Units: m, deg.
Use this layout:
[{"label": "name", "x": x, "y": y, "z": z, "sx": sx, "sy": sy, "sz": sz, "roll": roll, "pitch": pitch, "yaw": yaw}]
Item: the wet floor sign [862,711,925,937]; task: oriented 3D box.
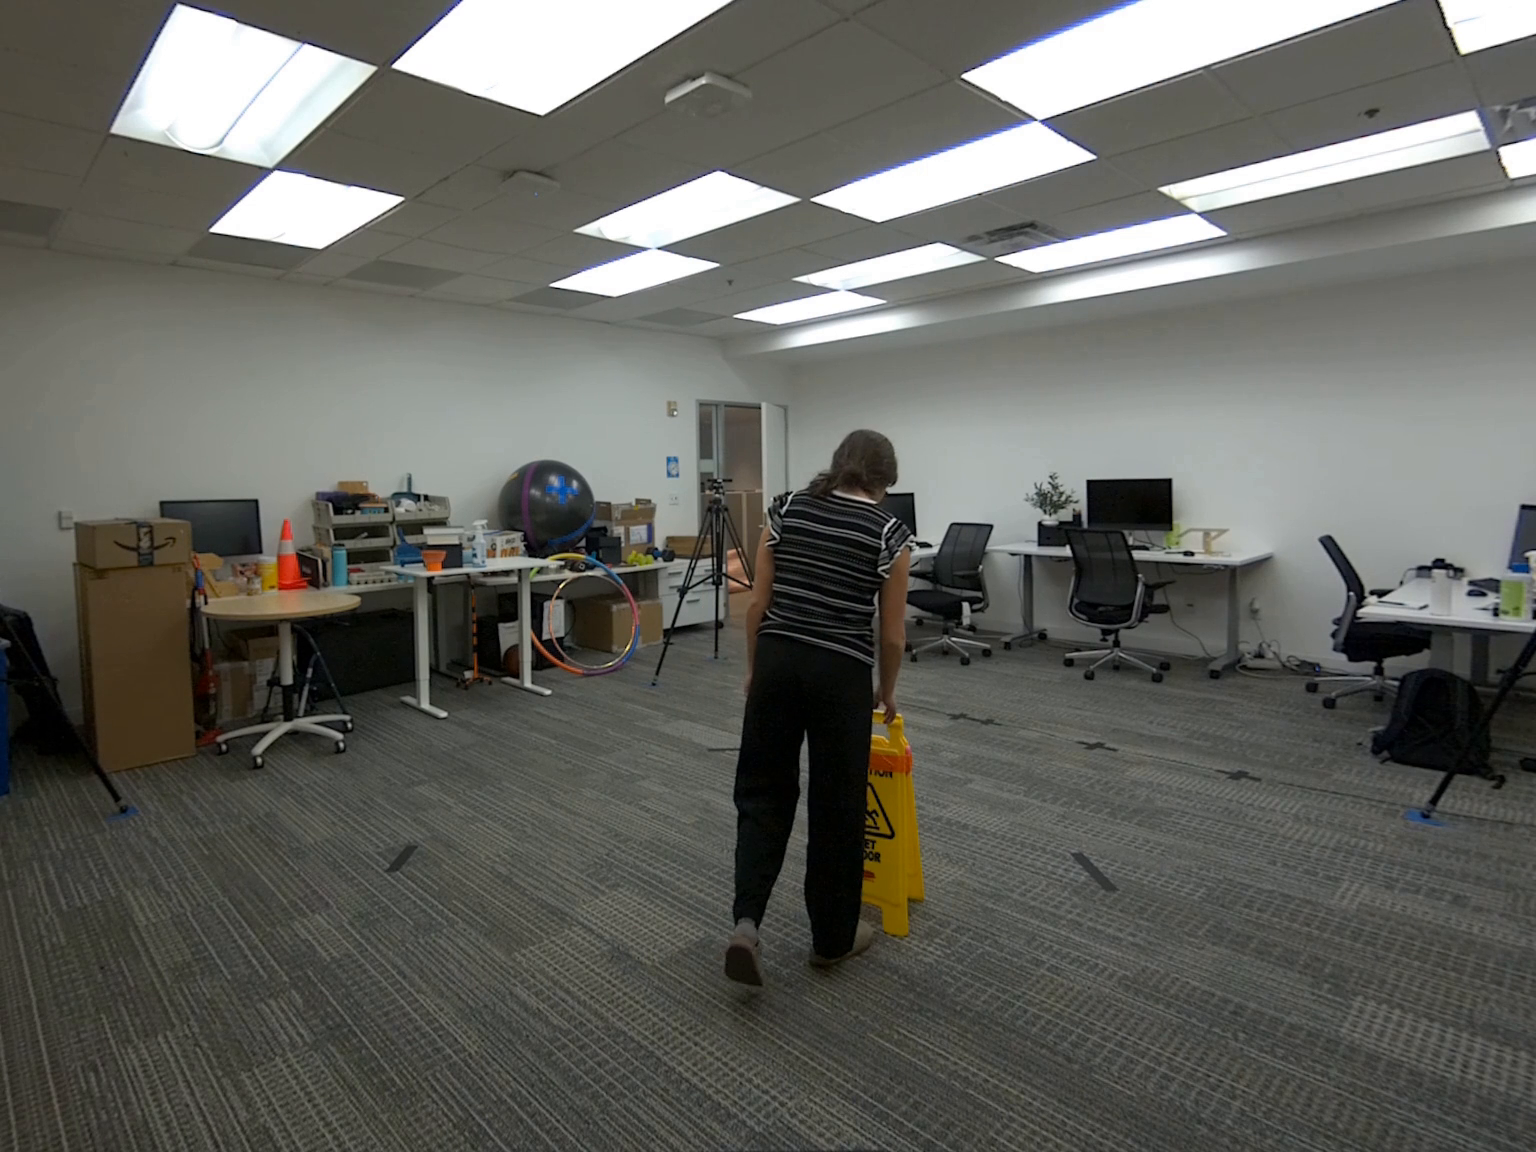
[{"label": "wet floor sign", "x": 0.341, "y": 0.758, "z": 2.734, "sx": 0.288, "sy": 0.644, "sz": 0.285, "roll": -1, "pitch": 4, "yaw": 22}]
